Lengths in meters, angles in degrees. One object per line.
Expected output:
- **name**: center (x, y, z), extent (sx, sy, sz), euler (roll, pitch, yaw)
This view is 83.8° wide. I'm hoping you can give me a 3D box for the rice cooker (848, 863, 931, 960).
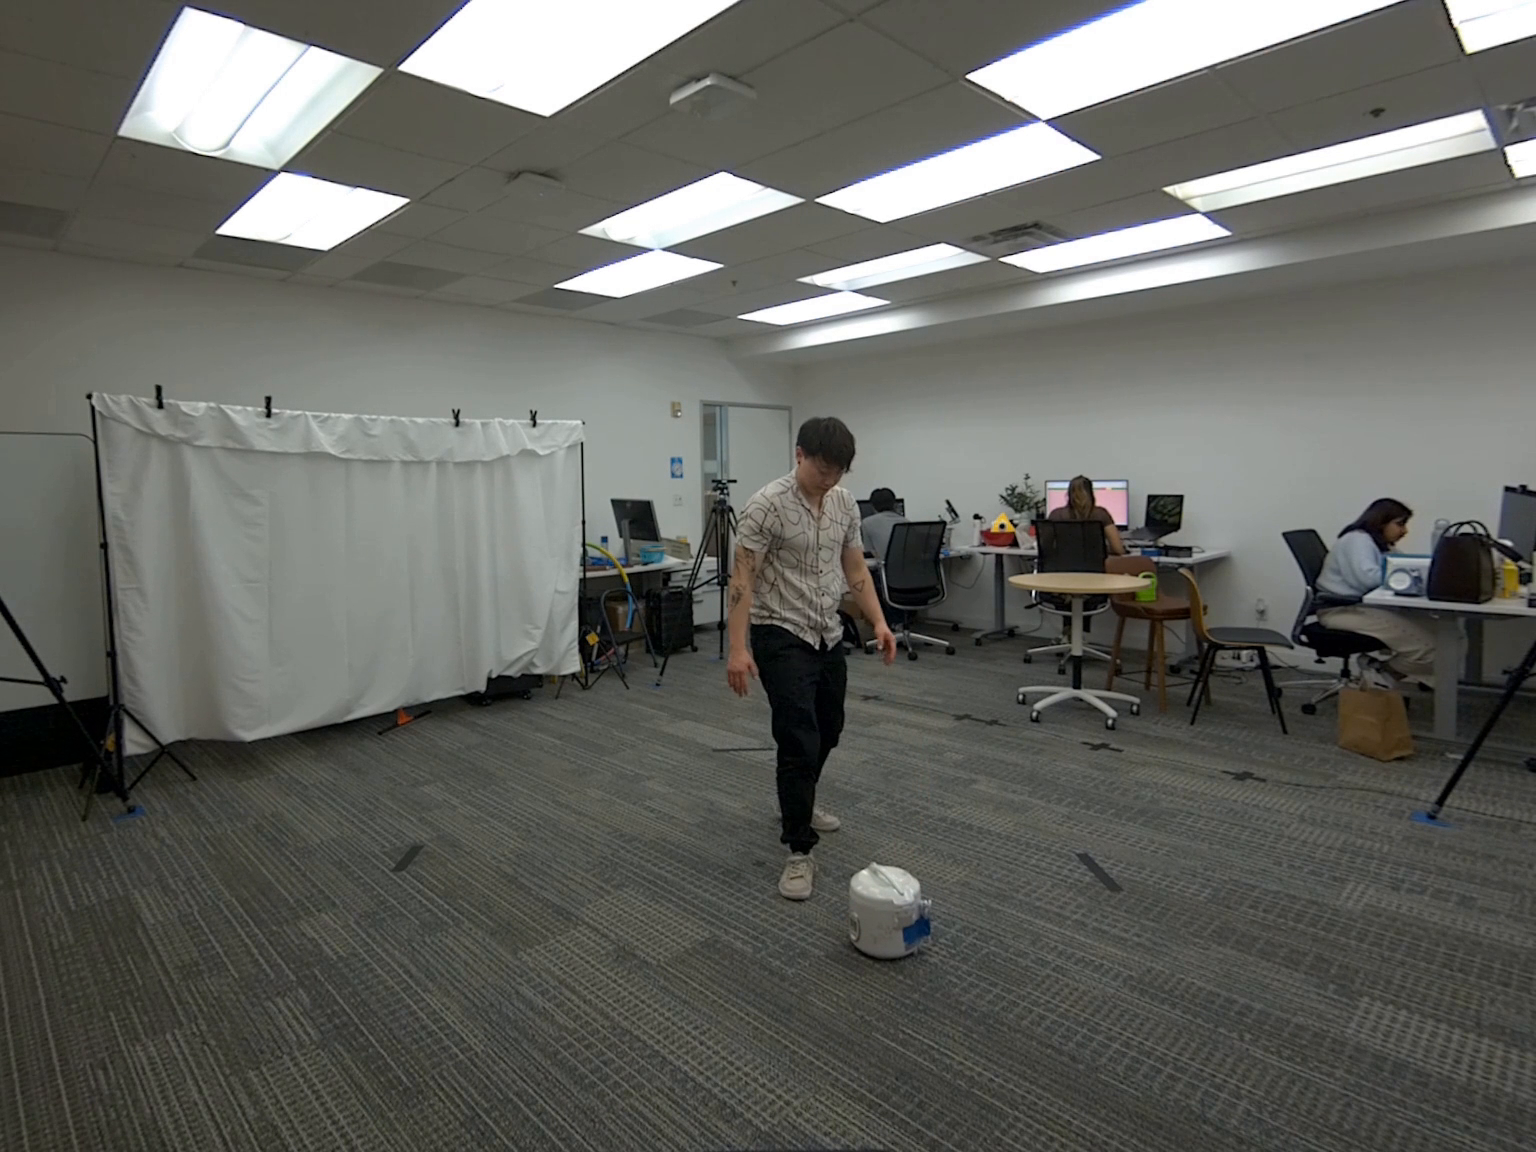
- **rice cooker**: center (0.342, 0.986, 2.547), extent (0.213, 0.232, 0.226), euler (-2, 5, -23)
